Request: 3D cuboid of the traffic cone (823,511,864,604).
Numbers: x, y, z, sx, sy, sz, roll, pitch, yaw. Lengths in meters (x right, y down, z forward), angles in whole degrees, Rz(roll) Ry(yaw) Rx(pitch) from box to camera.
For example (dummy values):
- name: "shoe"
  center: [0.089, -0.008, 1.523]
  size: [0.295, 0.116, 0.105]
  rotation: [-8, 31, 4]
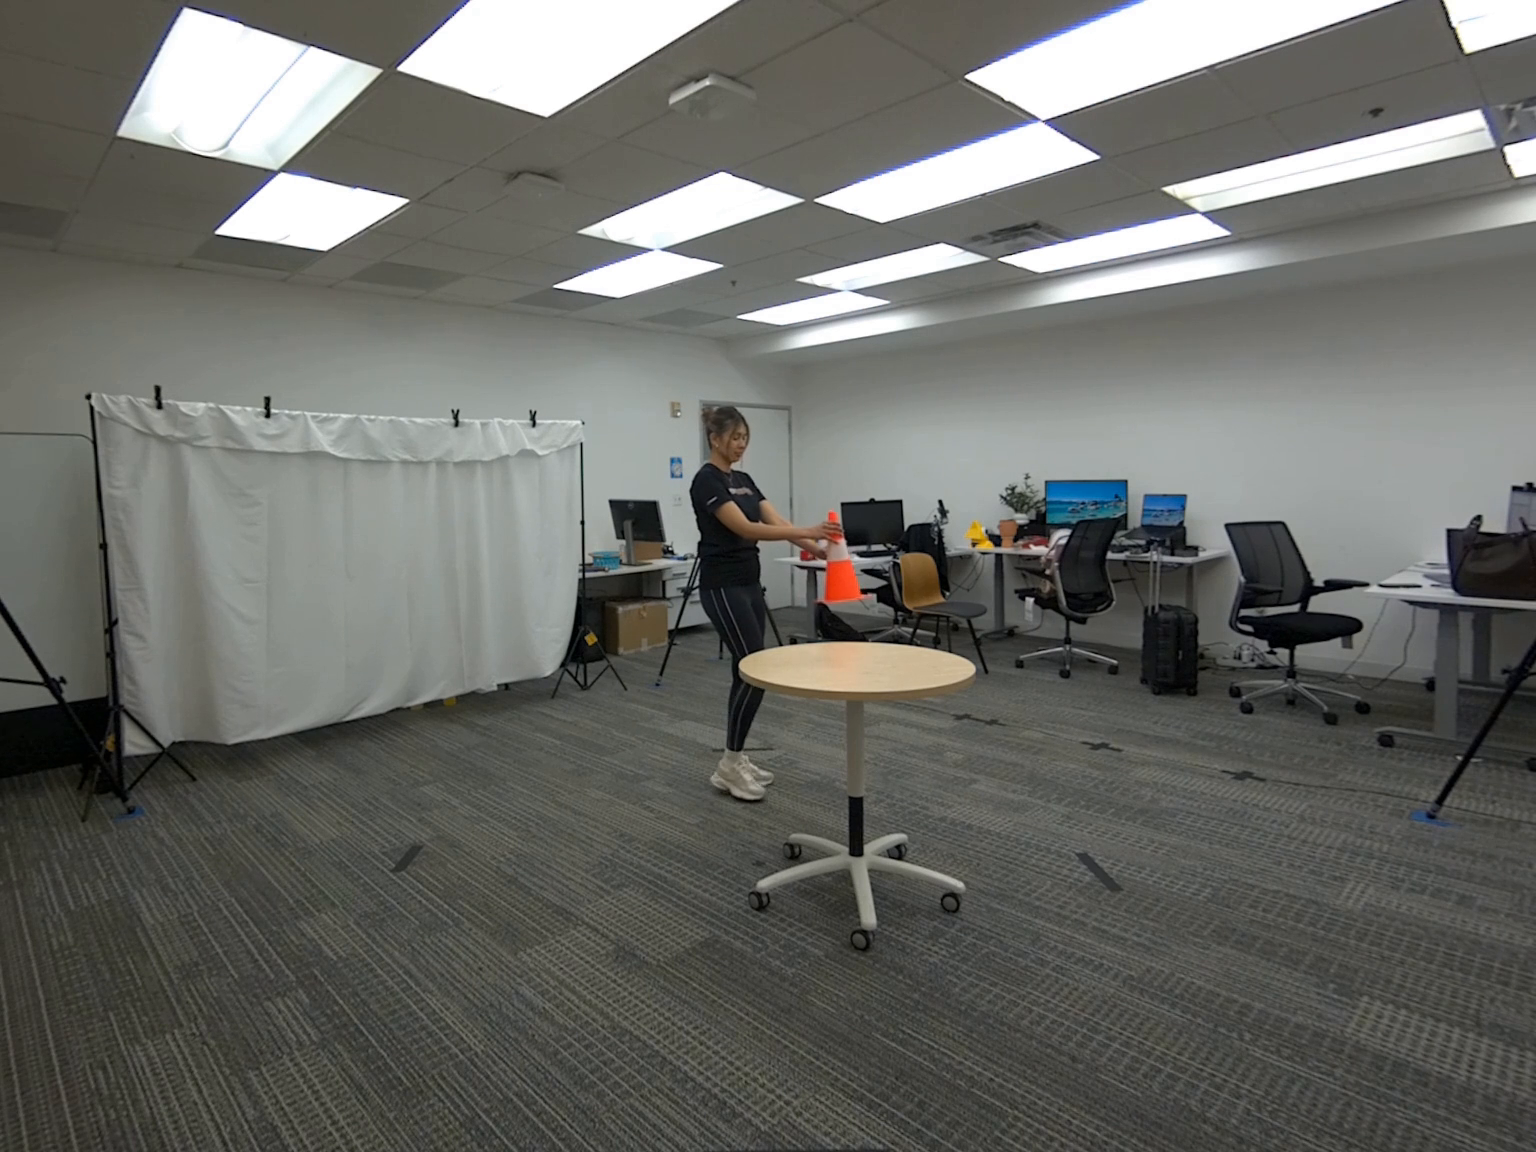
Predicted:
- name: "traffic cone"
  center: [0.308, -0.086, 3.691]
  size: [0.198, 0.384, 0.210]
  rotation: [-6, 0, -40]
